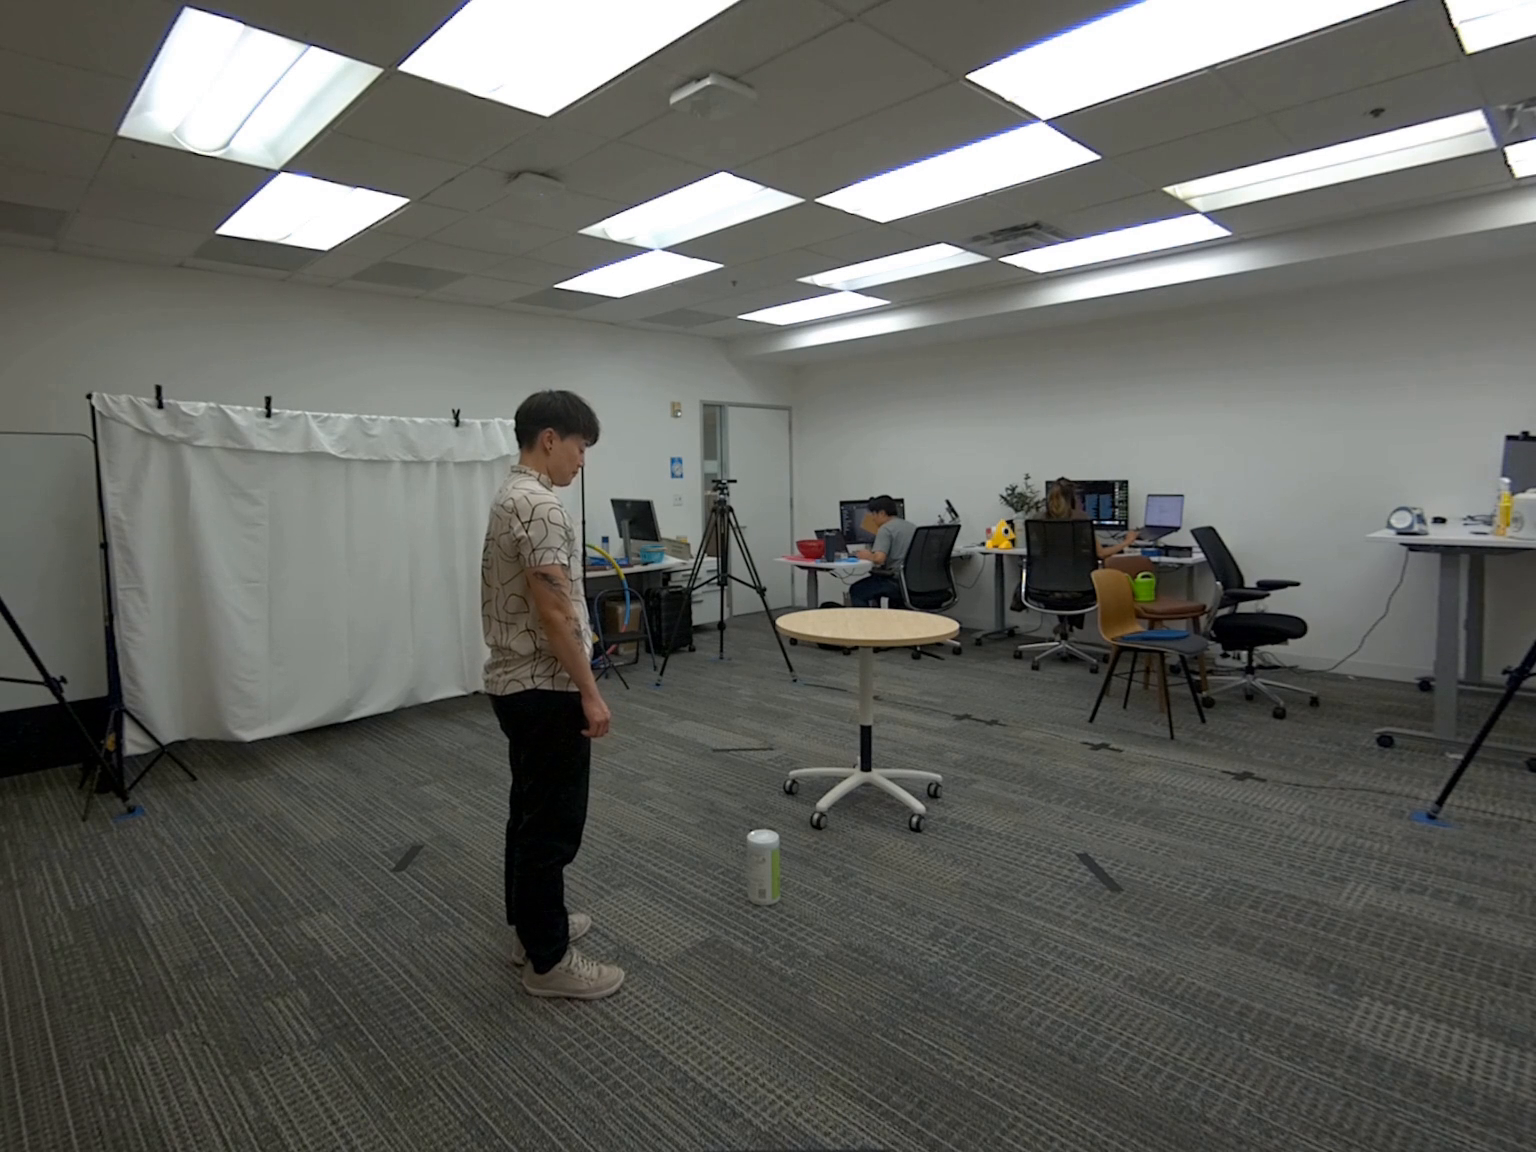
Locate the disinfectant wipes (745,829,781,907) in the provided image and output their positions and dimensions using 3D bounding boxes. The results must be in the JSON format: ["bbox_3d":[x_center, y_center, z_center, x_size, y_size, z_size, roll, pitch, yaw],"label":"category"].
[{"bbox_3d":[-0.010,0.971,2.836,0.118,0.217,0.118,-1,3,-2],"label":"disinfectant wipes"}]
